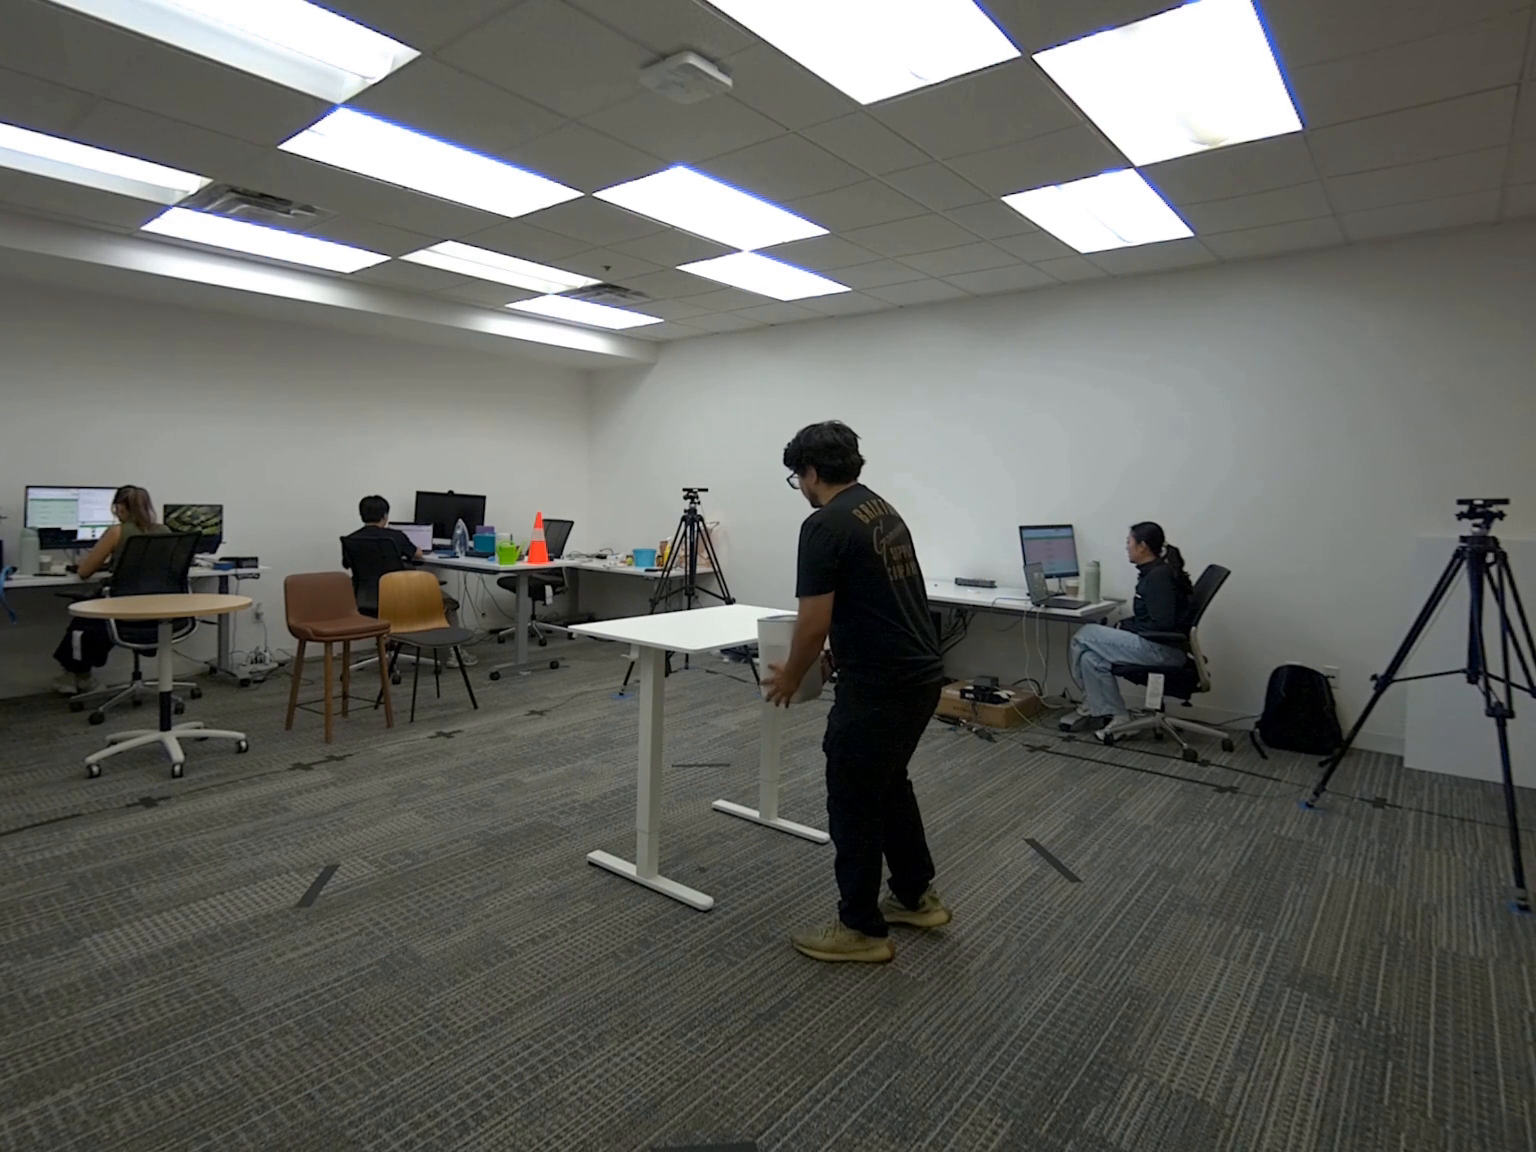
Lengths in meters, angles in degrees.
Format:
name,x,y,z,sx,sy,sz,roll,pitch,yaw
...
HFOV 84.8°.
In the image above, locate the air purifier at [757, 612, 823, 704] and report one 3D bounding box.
name,x,y,z,sx,sy,sz,roll,pitch,yaw
air purifier,0.065,0.266,2.727,0.176,0.265,0.166,-3,1,35
